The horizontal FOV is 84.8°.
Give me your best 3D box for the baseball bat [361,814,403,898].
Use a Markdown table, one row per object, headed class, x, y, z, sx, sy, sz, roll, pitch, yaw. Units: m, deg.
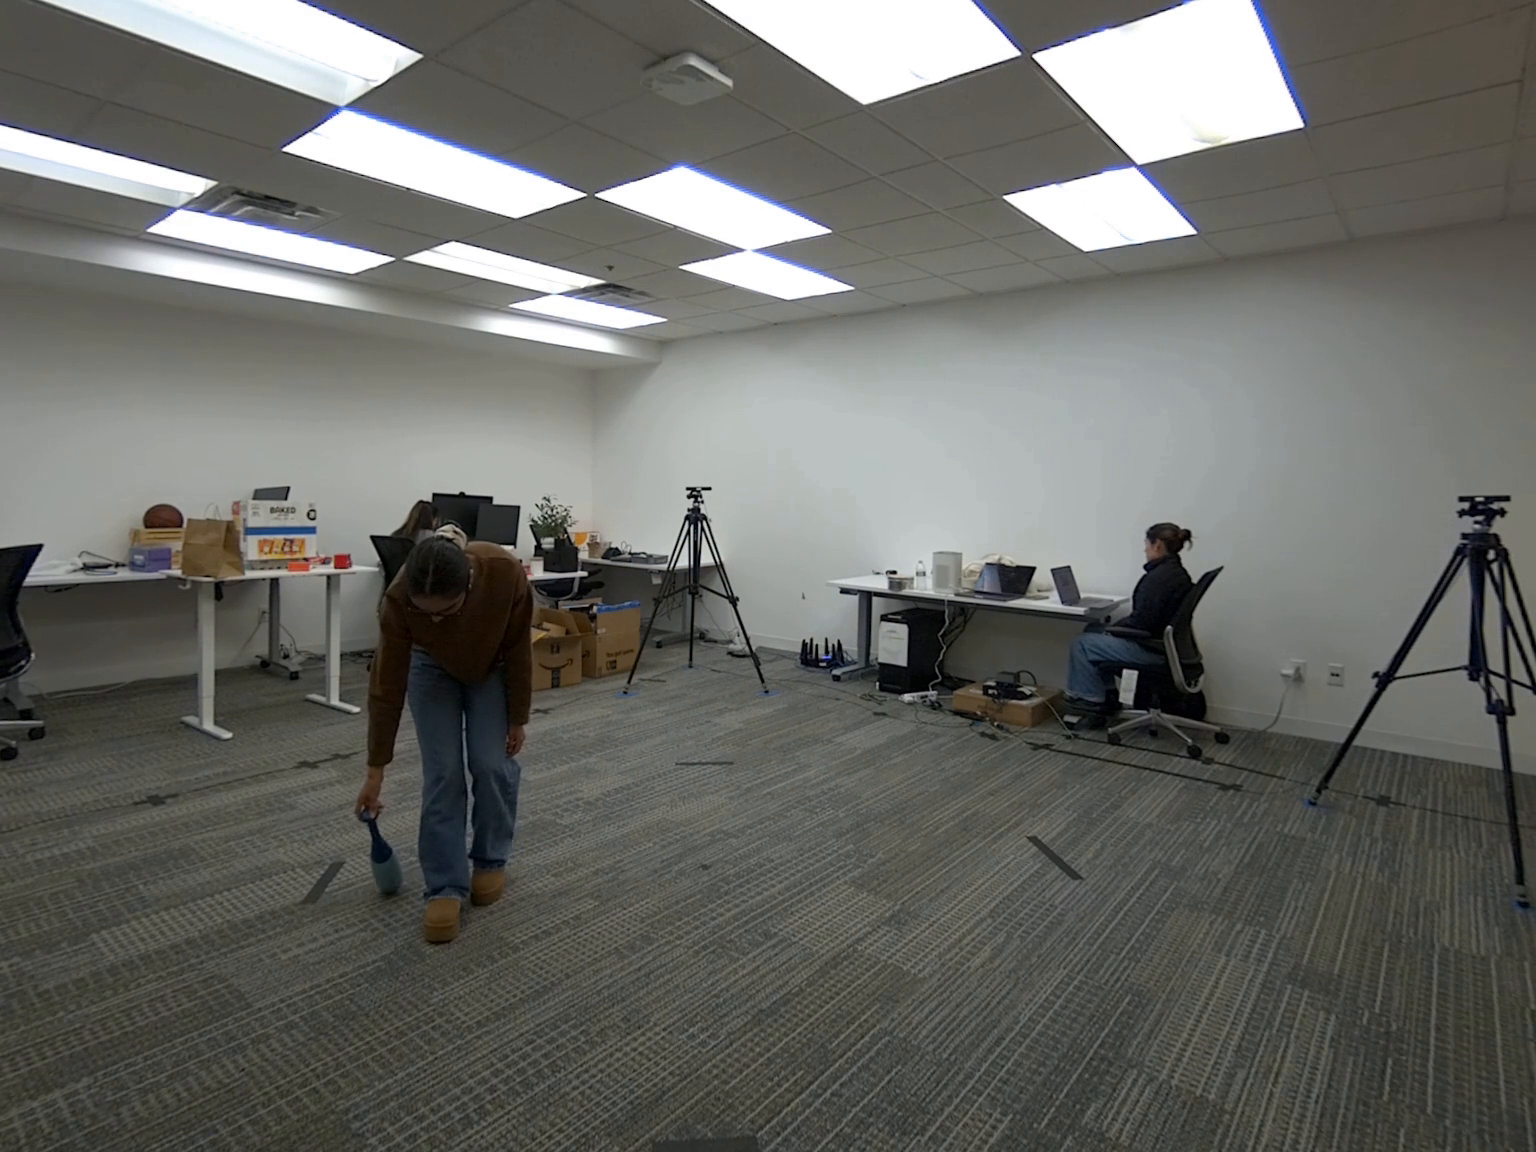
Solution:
| class | x | y | z | sx | sy | sz | roll | pitch | yaw |
| --- | --- | --- | --- | --- | --- | --- | --- | --- | --- |
| baseball bat | -1.260 | 0.880 | 2.727 | 0.088 | 0.092 | 0.532 | 6 | -42 | -9 |
